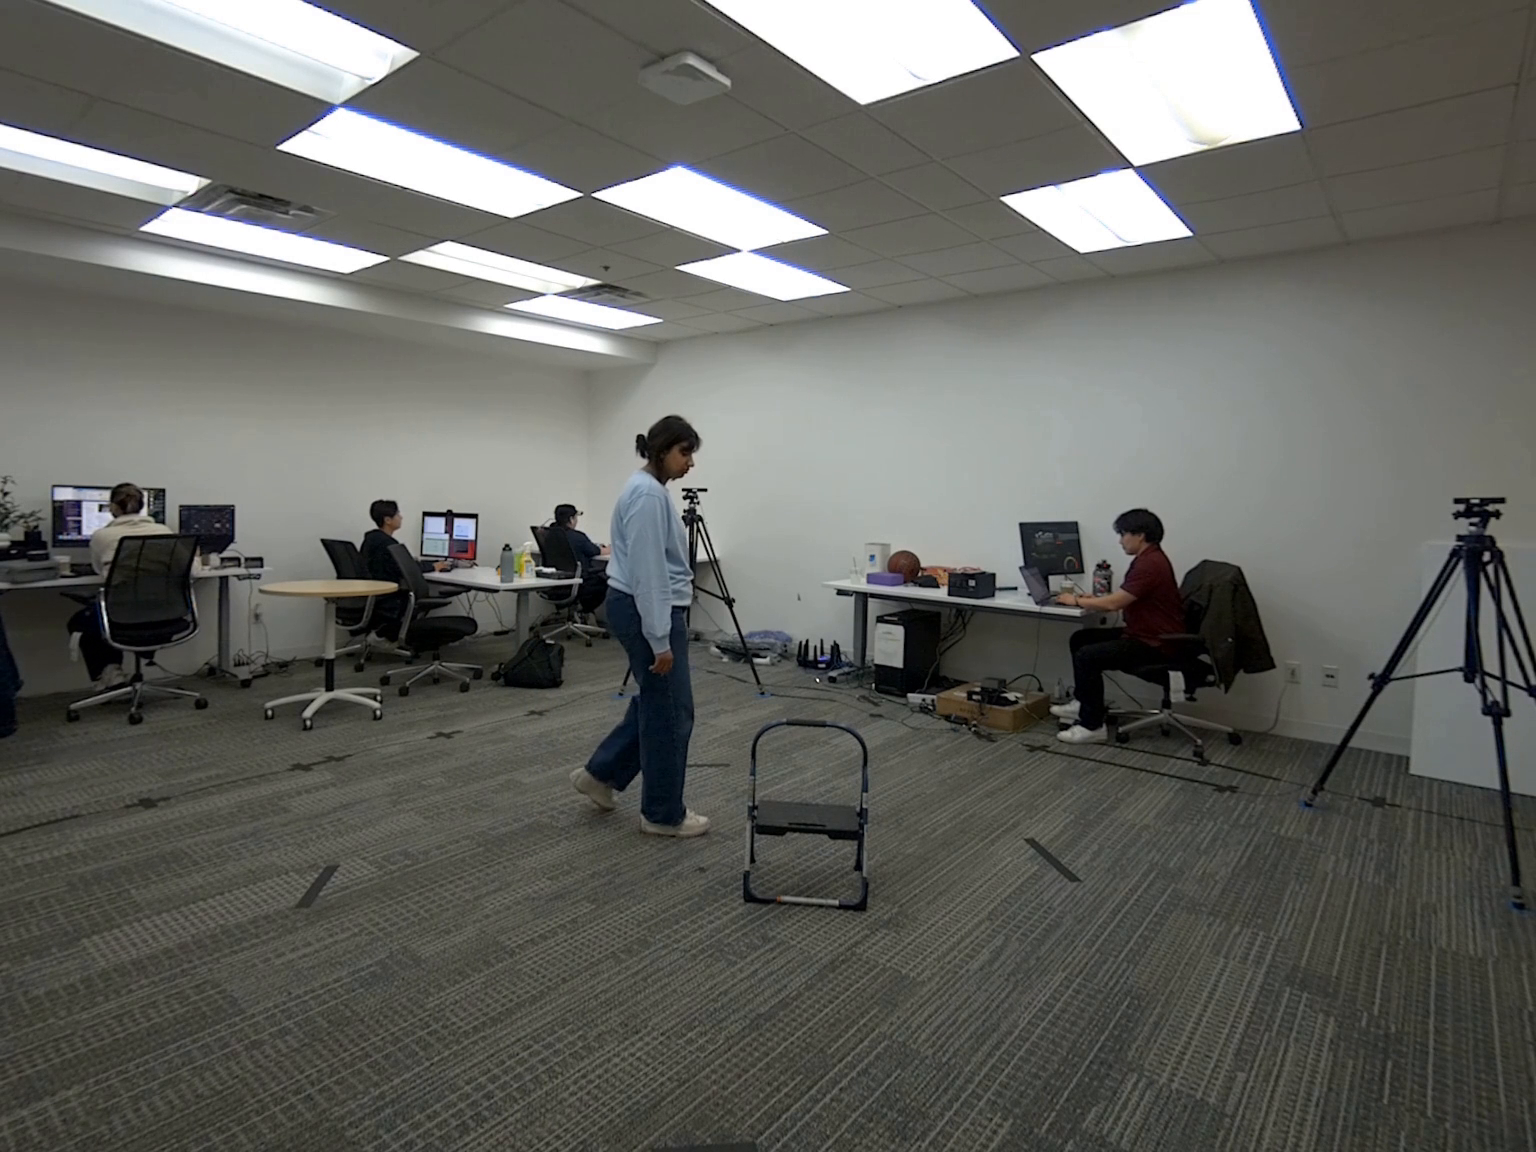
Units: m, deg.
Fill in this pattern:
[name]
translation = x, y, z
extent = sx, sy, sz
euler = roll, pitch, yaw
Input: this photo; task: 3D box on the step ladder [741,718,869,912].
[step ladder]
translation = 0.131, 0.784, 2.992
extent = 0.433, 0.604, 0.348
euler = 1, 3, 4
